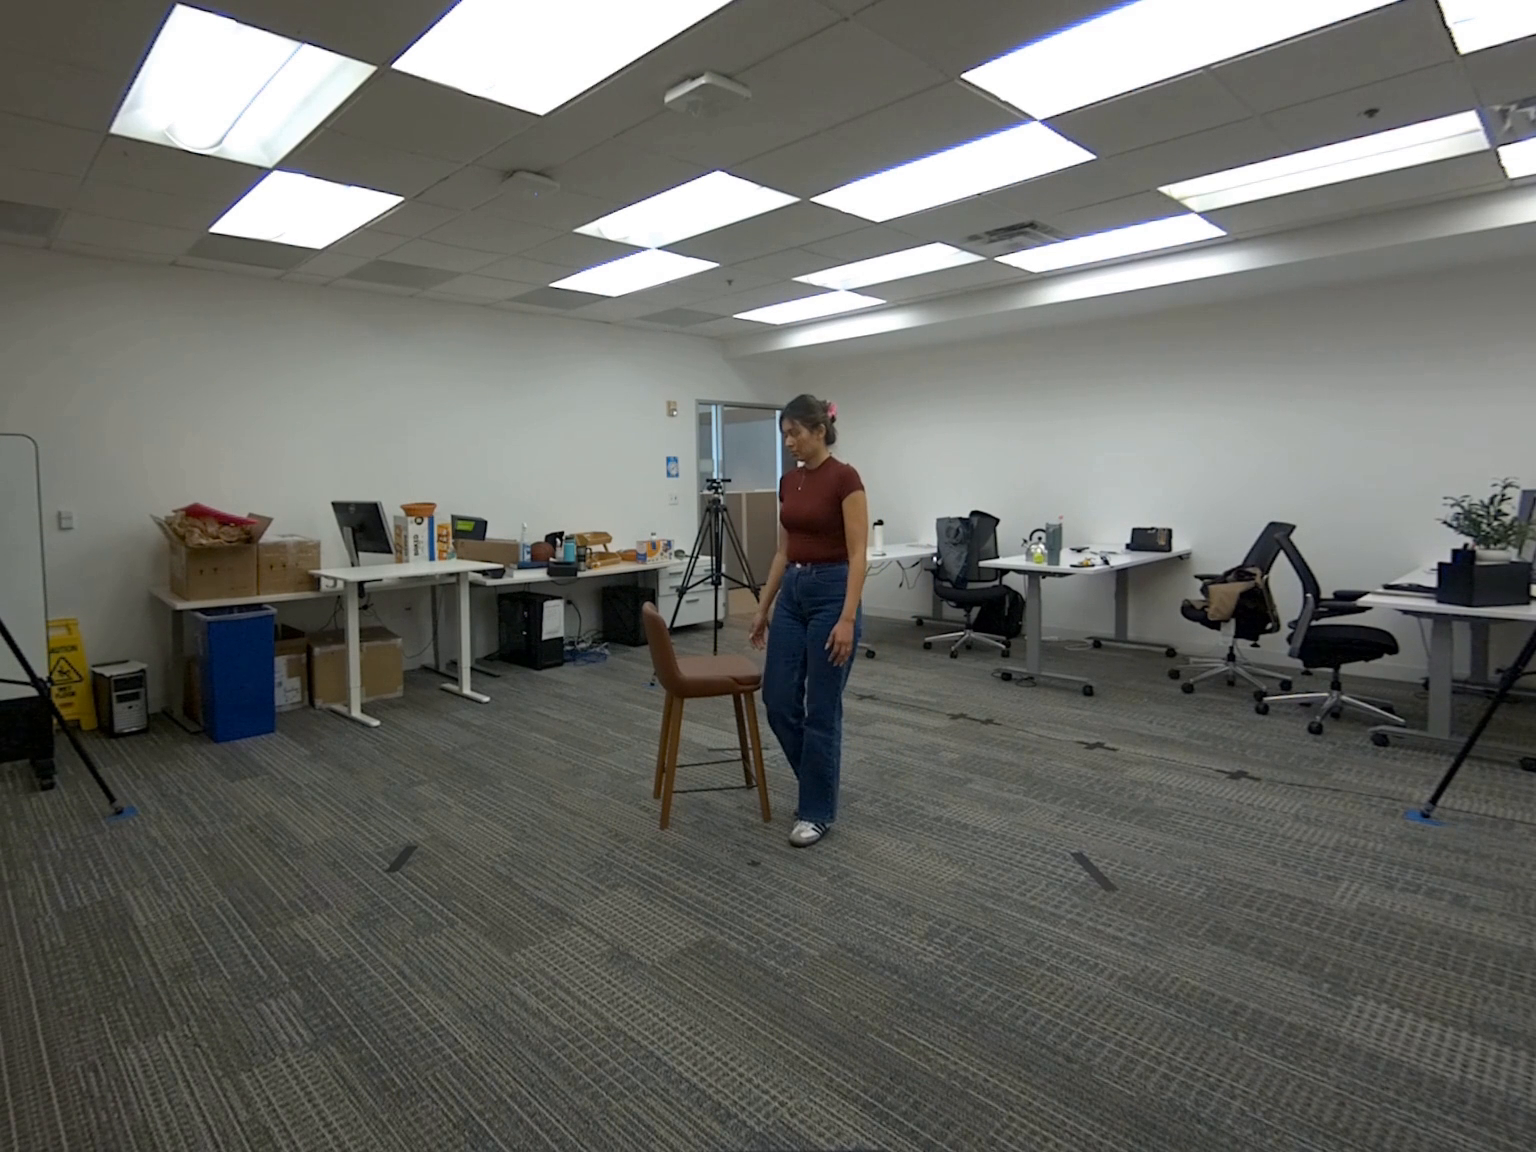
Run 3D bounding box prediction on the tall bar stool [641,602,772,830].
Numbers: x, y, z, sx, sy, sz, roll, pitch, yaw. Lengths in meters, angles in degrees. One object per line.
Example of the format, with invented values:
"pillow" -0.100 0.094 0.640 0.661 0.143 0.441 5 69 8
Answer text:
"tall bar stool" -0.268 0.558 3.620 0.463 0.887 0.463 -4 4 -11
